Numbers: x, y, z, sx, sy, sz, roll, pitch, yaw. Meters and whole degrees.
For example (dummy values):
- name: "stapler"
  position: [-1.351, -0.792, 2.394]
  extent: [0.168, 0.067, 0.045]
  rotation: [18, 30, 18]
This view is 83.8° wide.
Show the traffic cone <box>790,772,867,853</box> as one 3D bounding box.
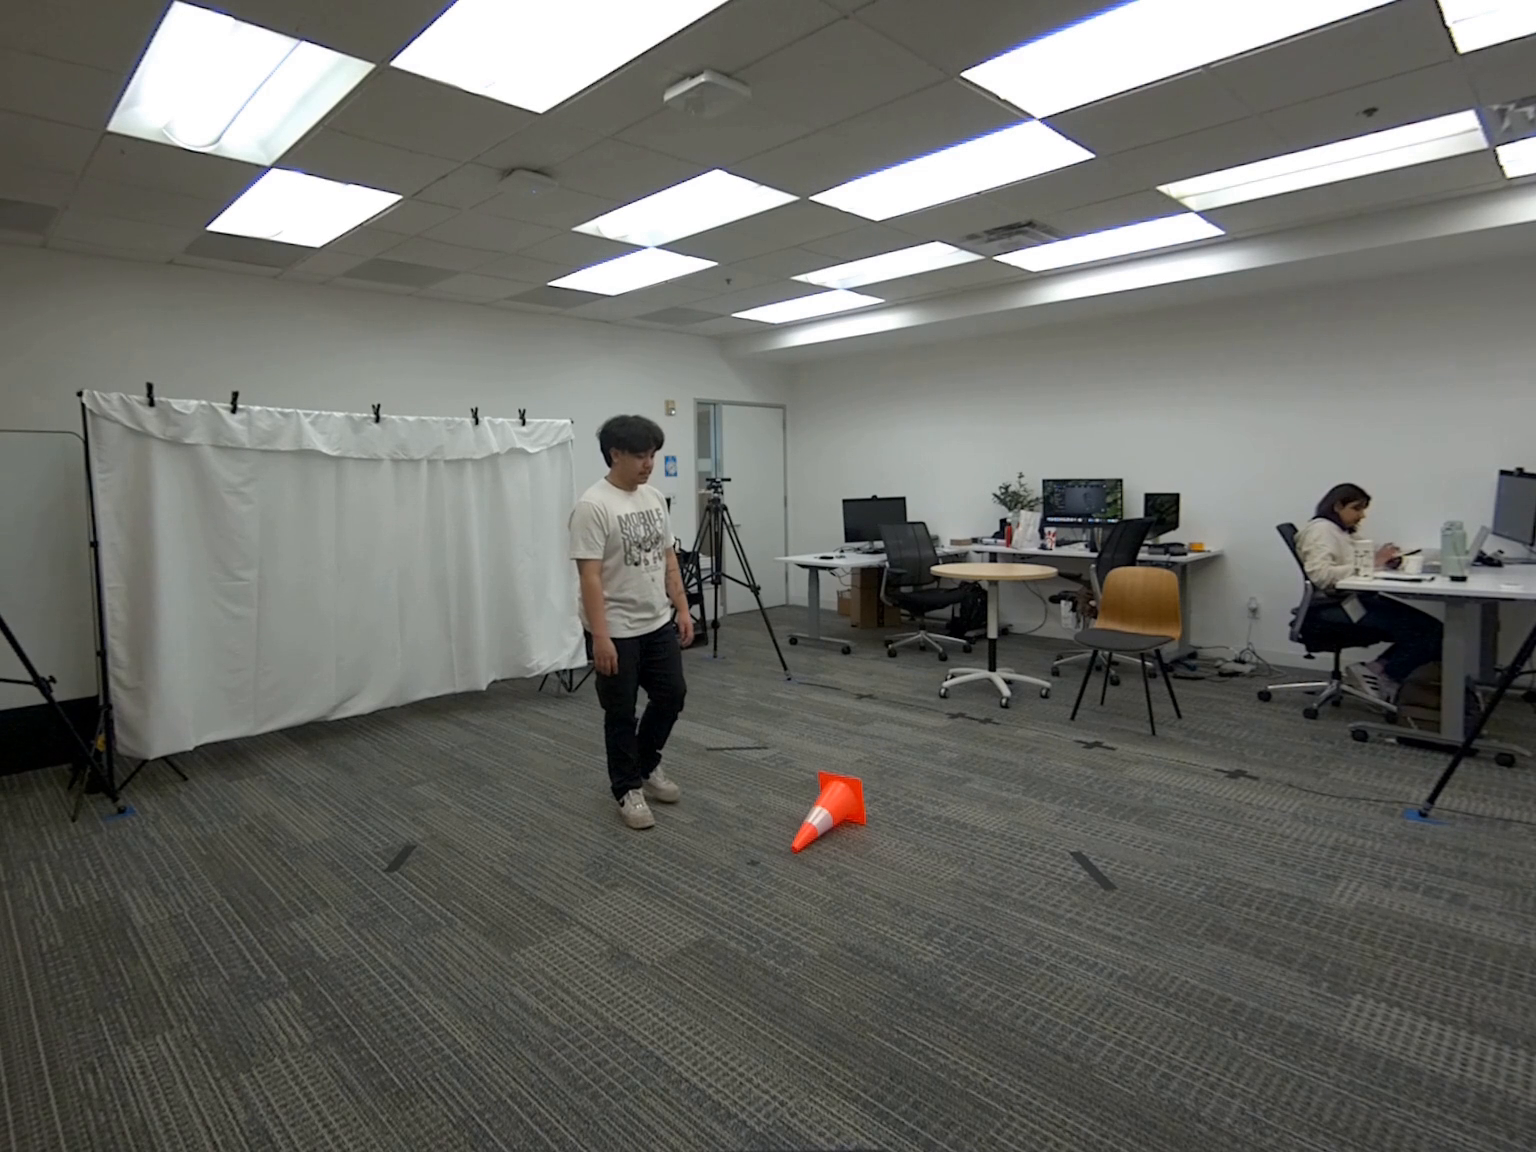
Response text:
- name: "traffic cone"
  position: [0.205, 0.961, 3.326]
  extent: [0.211, 0.200, 0.379]
  rotation: [1, 19, 35]
